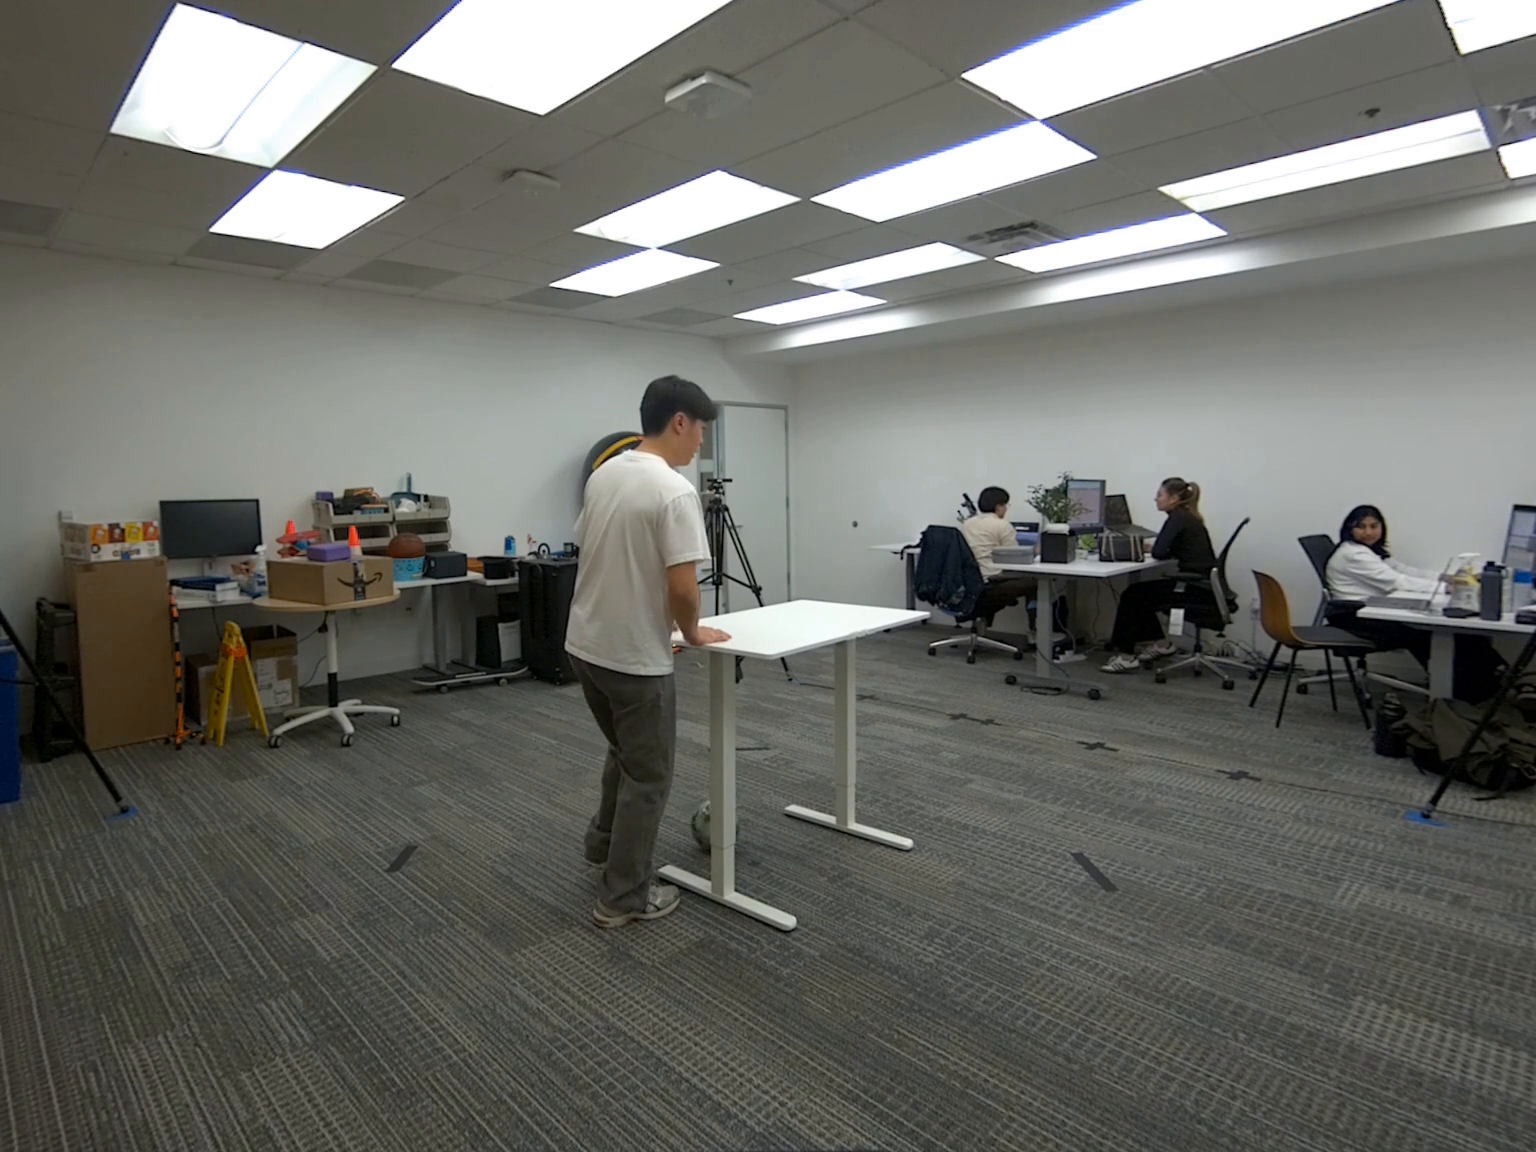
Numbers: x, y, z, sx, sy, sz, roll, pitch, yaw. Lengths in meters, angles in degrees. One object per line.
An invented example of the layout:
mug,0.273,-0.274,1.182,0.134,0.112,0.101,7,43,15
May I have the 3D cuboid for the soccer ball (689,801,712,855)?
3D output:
soccer ball,-0.197,0.940,3.230,0.187,0.187,0.188,-1,5,-2
